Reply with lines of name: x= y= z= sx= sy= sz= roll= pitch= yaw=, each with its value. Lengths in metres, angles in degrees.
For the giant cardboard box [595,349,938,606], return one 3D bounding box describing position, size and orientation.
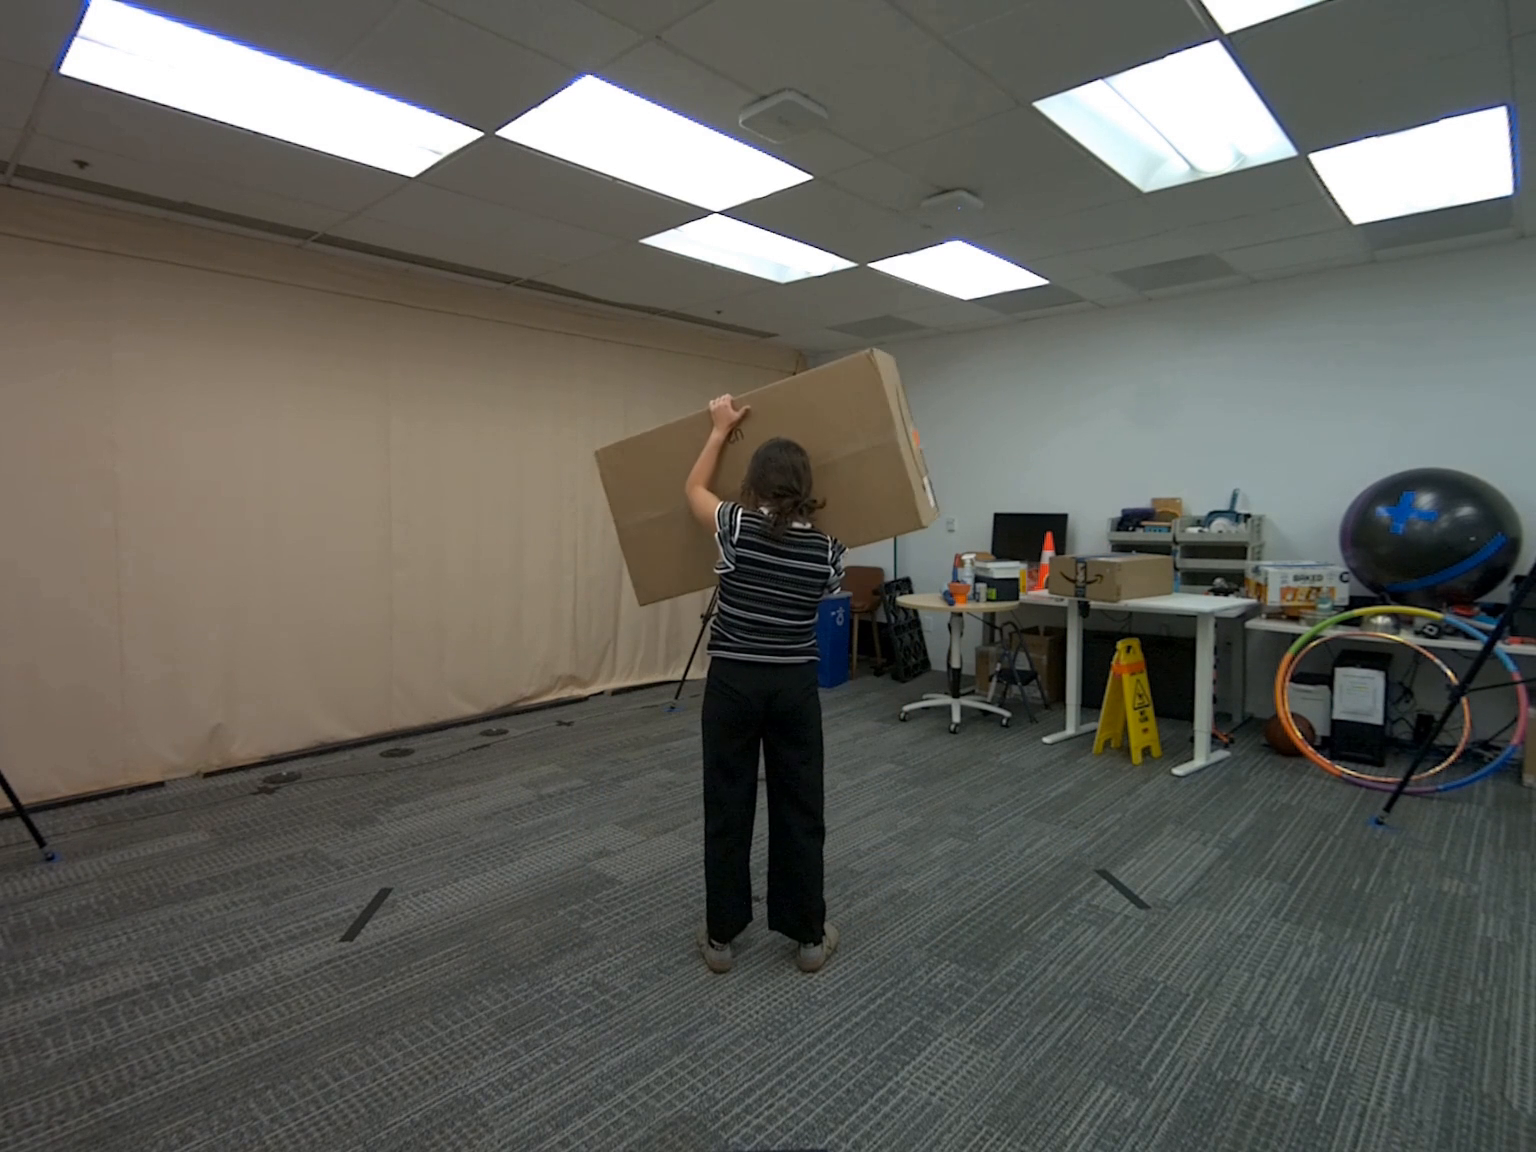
giant cardboard box: x=-0.001 y=-0.311 z=2.935 sx=1.044 sy=0.576 sz=0.419 roll=-15 pitch=3 yaw=22
